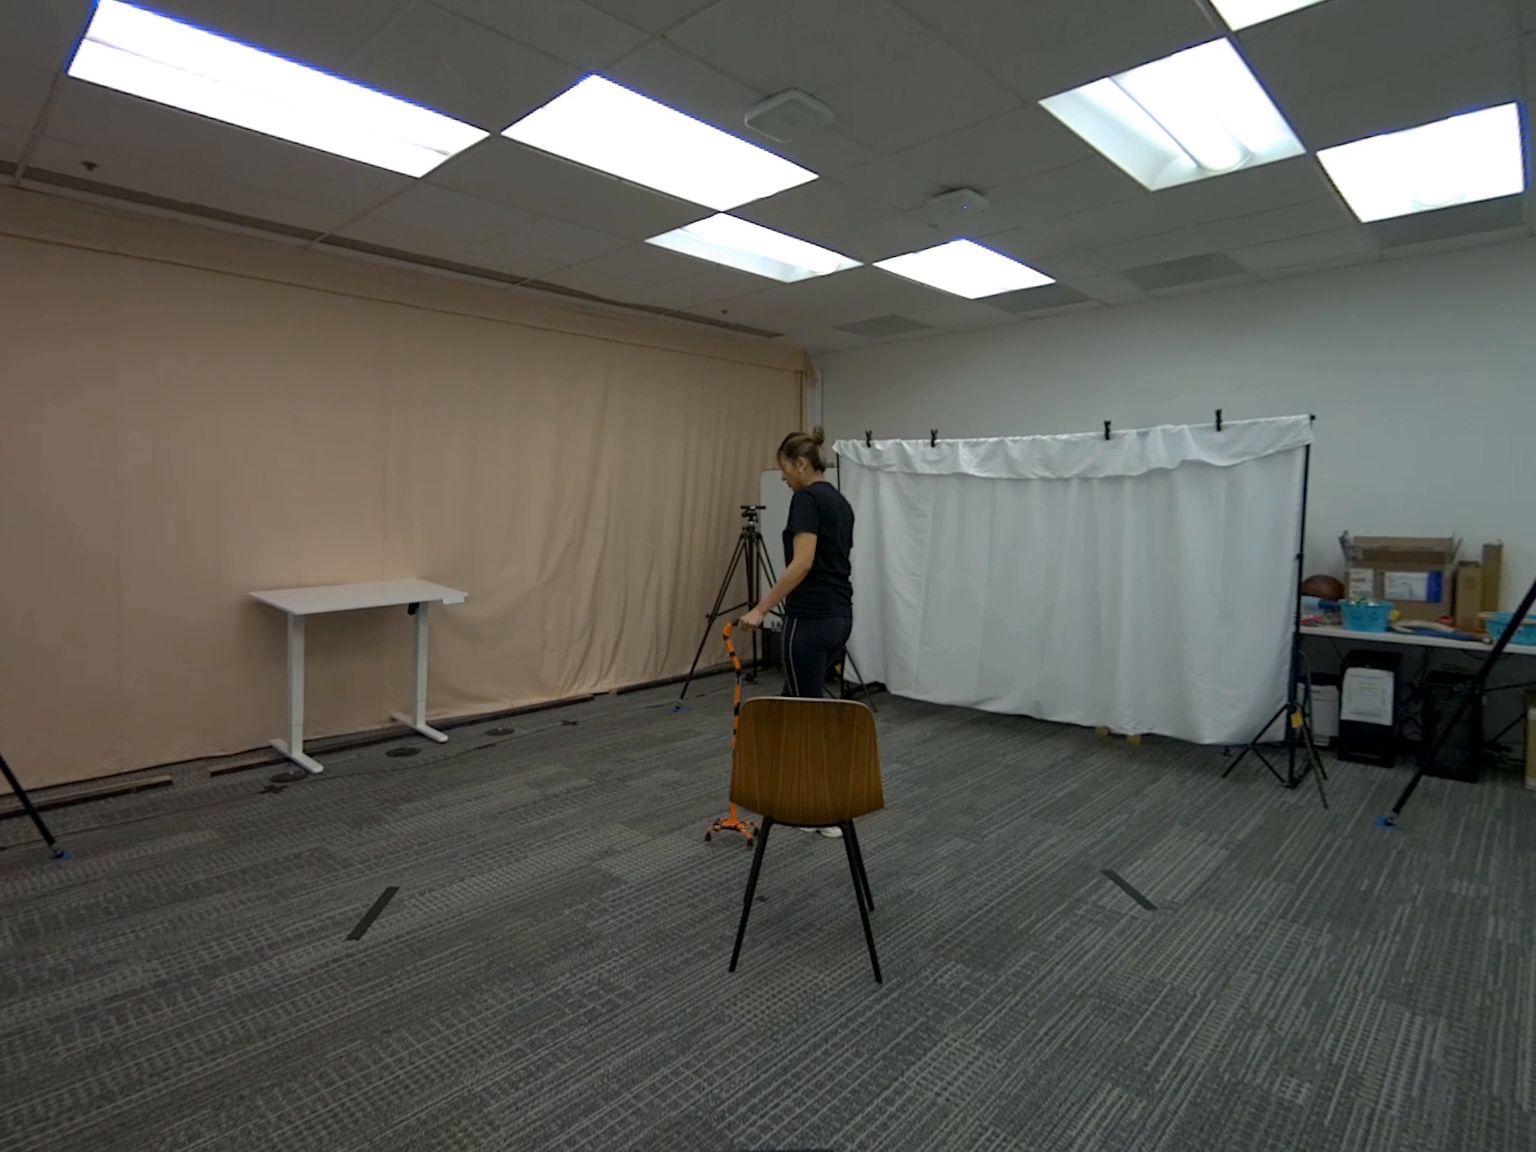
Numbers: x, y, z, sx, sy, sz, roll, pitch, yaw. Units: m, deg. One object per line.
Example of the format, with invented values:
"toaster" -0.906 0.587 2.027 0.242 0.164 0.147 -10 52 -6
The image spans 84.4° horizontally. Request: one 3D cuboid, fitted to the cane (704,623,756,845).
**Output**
"cane" -0.125 0.631 3.452 0.210 0.906 0.149 3 3 14
